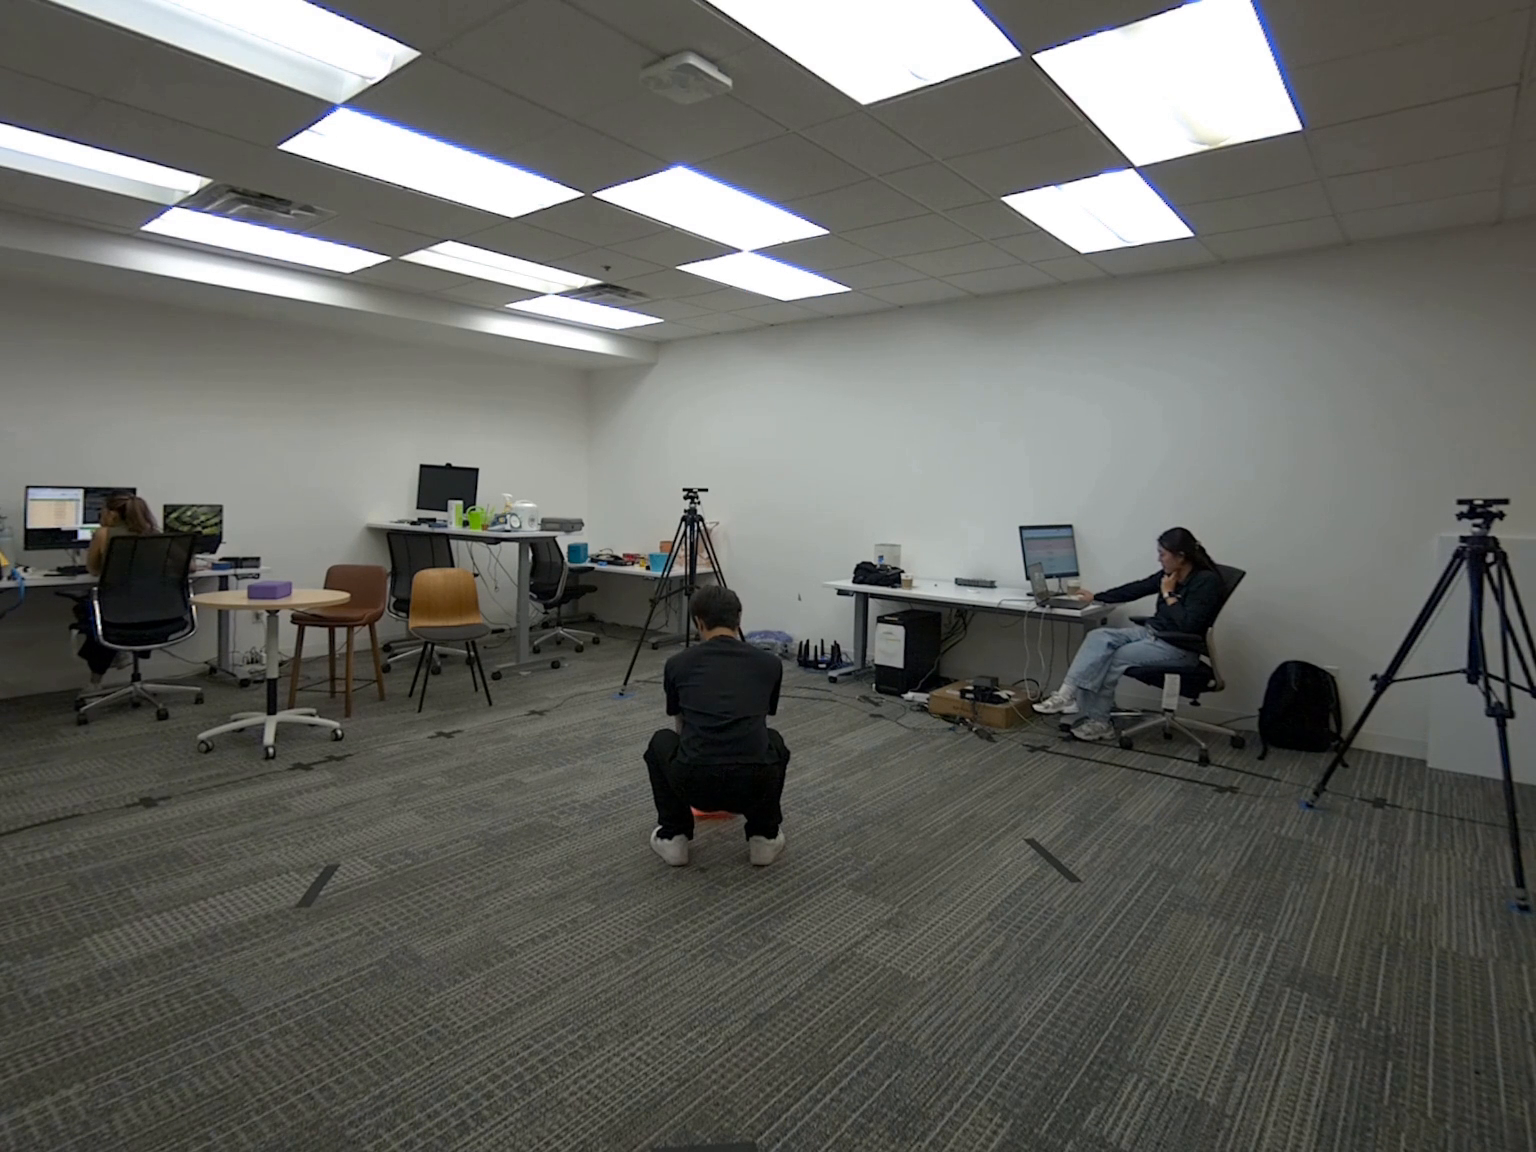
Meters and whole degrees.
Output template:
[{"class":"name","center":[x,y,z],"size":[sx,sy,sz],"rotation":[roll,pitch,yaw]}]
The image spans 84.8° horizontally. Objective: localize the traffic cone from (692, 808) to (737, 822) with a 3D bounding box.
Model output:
[{"class":"traffic cone","center":[-0.247,0.791,3.635],"size":[0.203,0.379,0.207],"rotation":[-2,13,-7]}]
